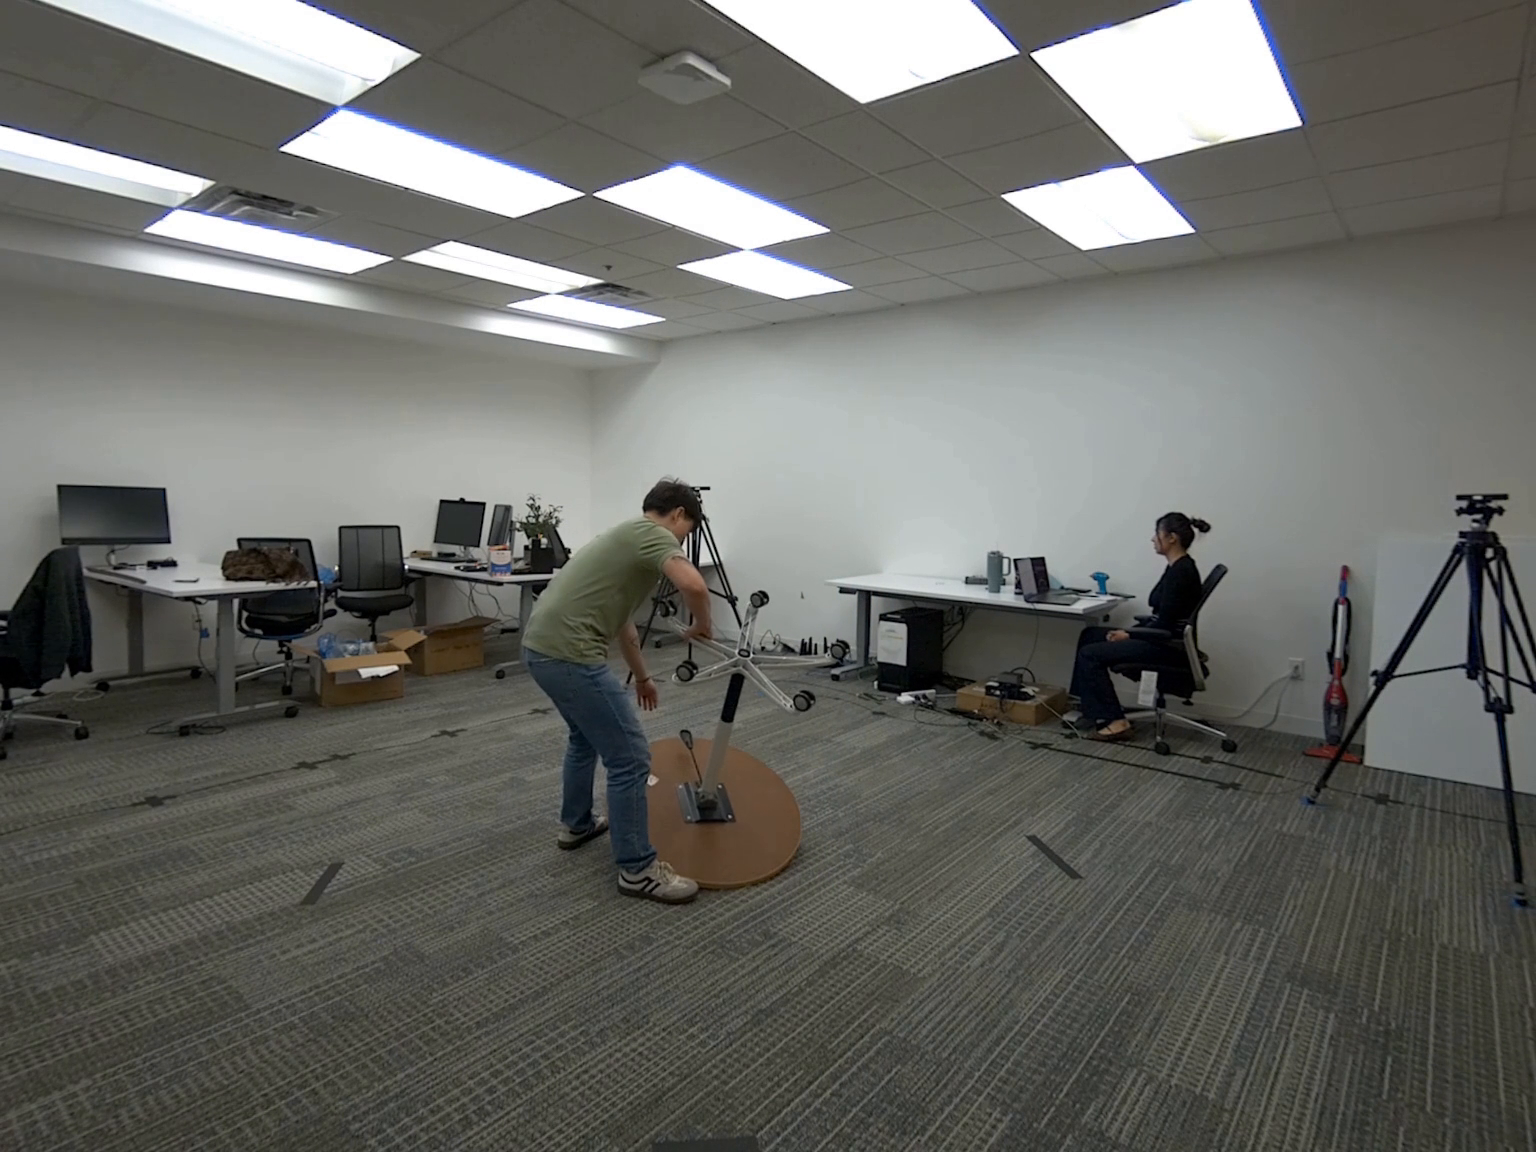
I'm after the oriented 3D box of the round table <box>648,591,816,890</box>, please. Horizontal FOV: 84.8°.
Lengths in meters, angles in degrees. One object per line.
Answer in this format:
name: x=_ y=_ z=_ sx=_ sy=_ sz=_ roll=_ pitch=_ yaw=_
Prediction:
round table: x=-0.155 y=0.546 z=3.110 sx=0.758 sy=0.782 sz=0.782 roll=11 pitch=25 yaw=-7
